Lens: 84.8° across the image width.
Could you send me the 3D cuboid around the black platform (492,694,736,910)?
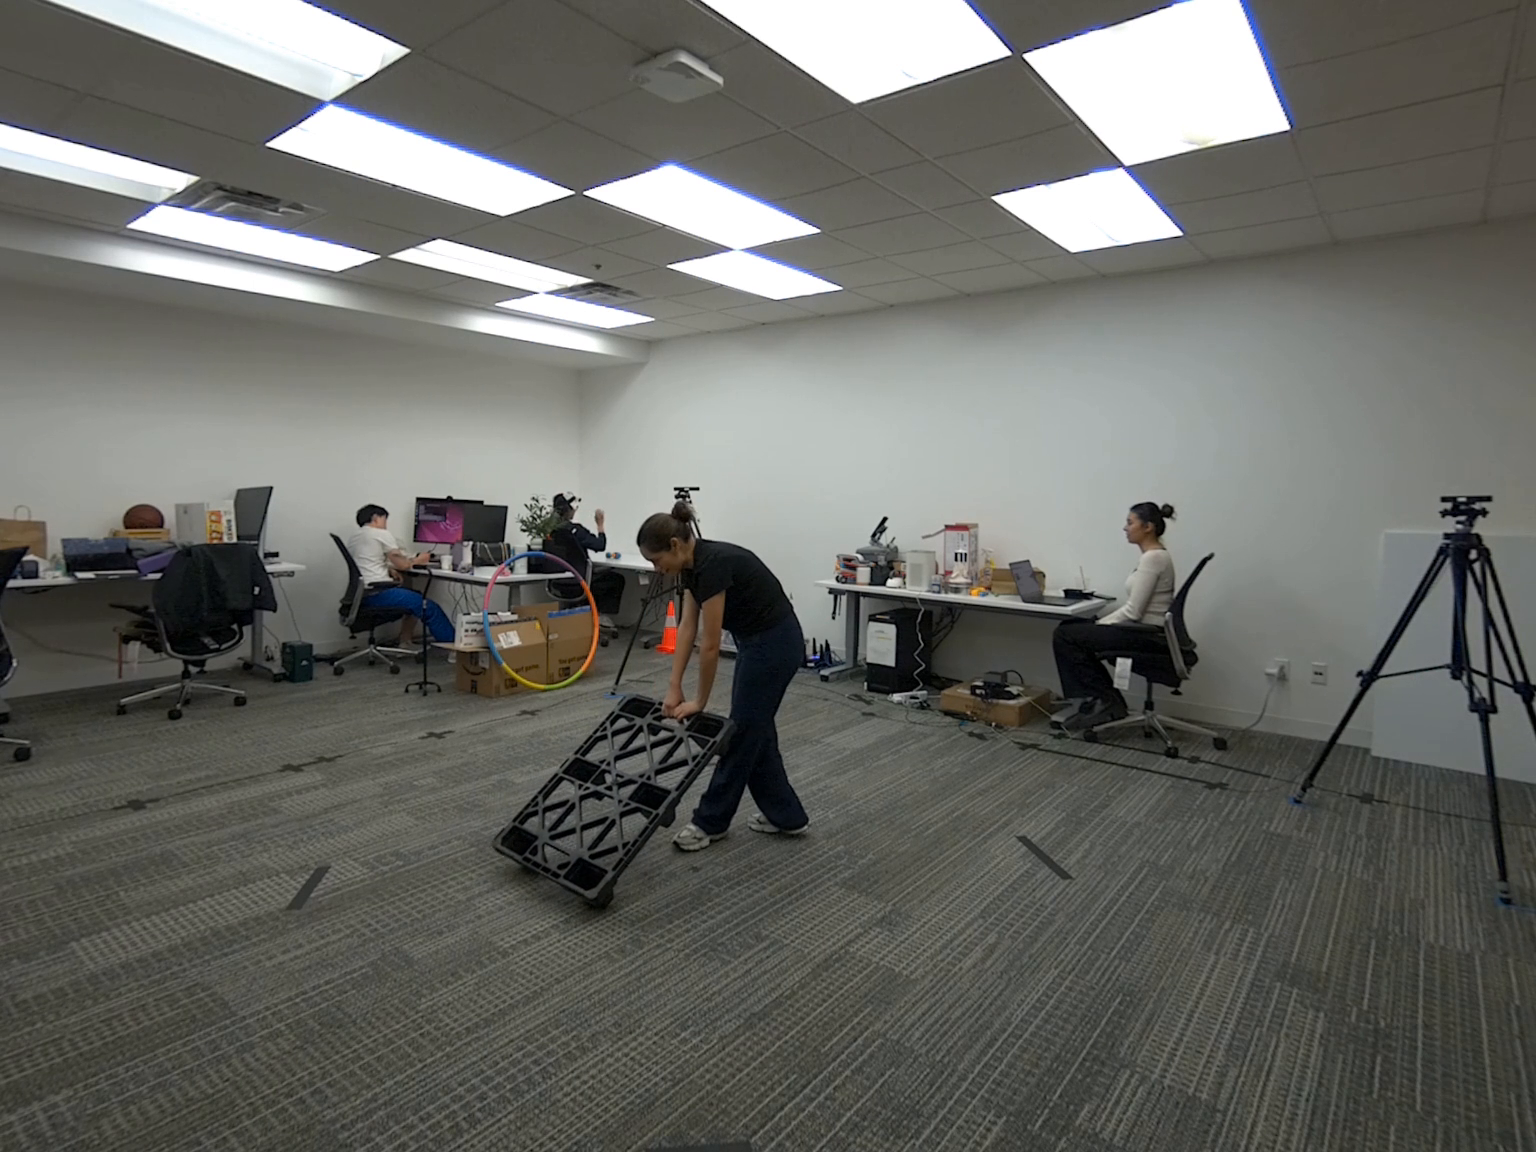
[{"bbox_3d":[-0.524,0.793,3.154,0.626,0.138,0.805,5,42,41],"label":"black platform"}]
